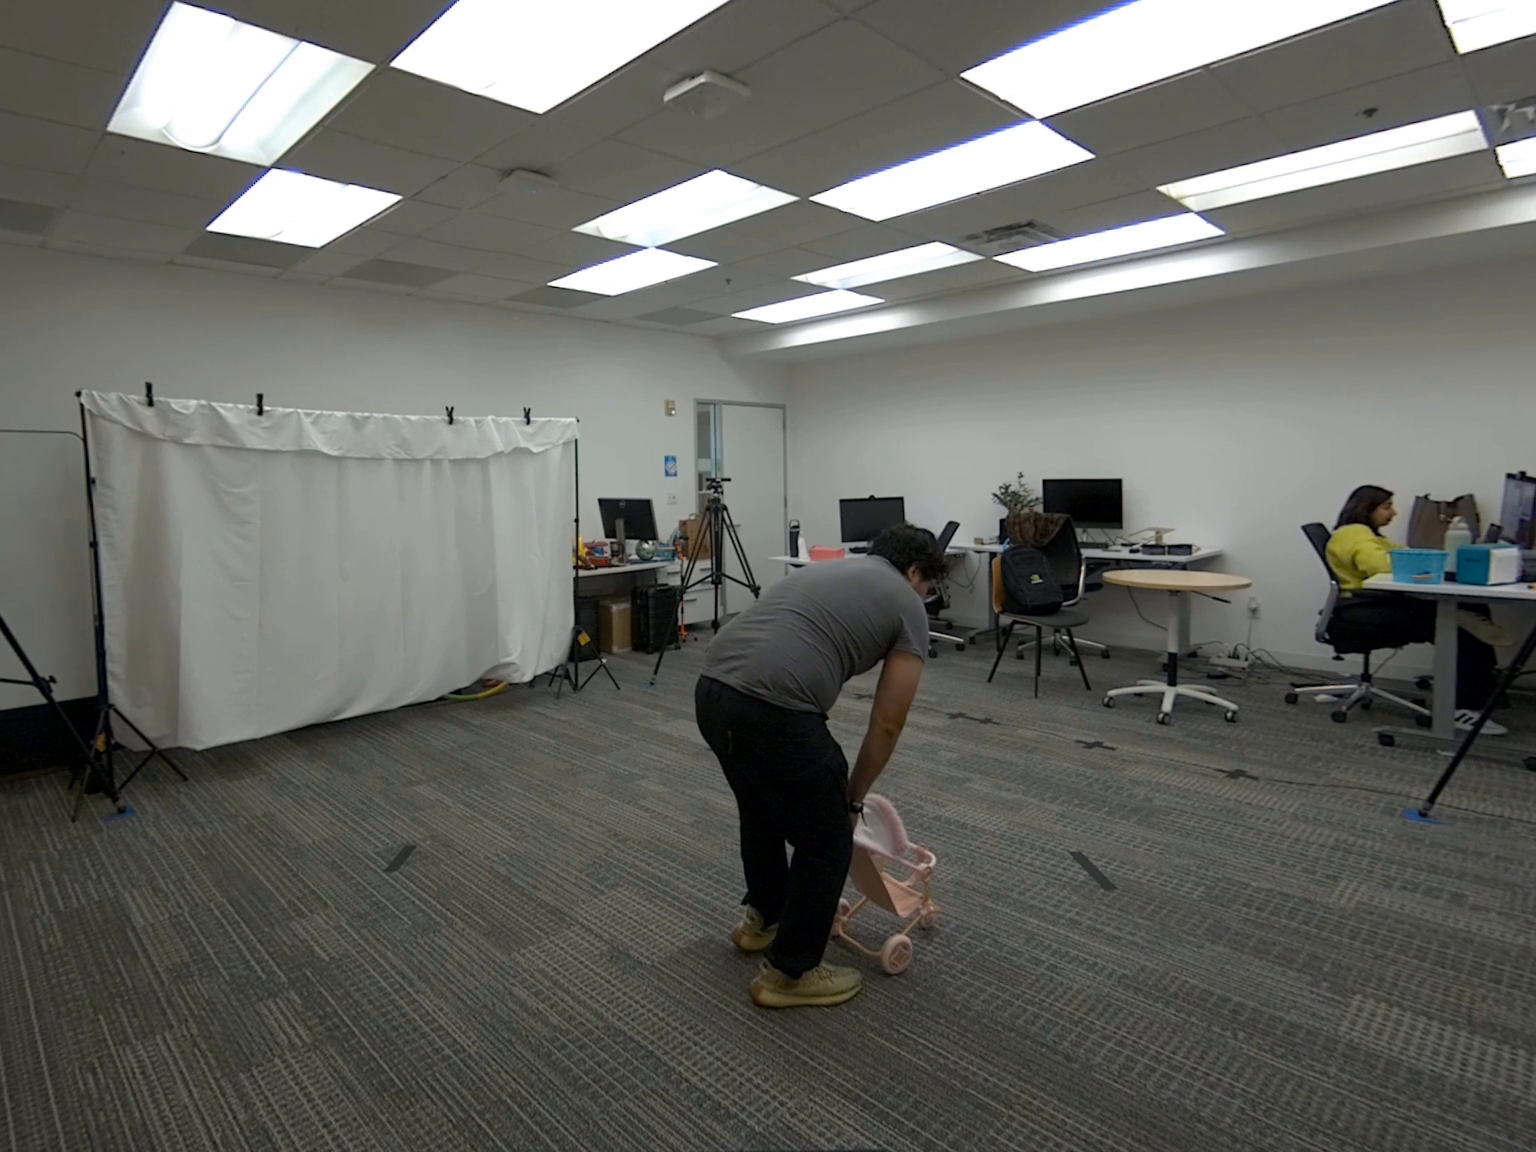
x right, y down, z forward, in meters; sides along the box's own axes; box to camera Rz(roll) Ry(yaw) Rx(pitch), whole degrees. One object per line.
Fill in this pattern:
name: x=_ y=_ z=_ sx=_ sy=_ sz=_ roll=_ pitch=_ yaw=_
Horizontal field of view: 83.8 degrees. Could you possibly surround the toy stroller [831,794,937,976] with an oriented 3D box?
toy stroller: x=0.346 y=0.879 z=2.524 sx=0.336 sy=0.528 sz=0.289 roll=-20 pitch=14 yaw=-28
